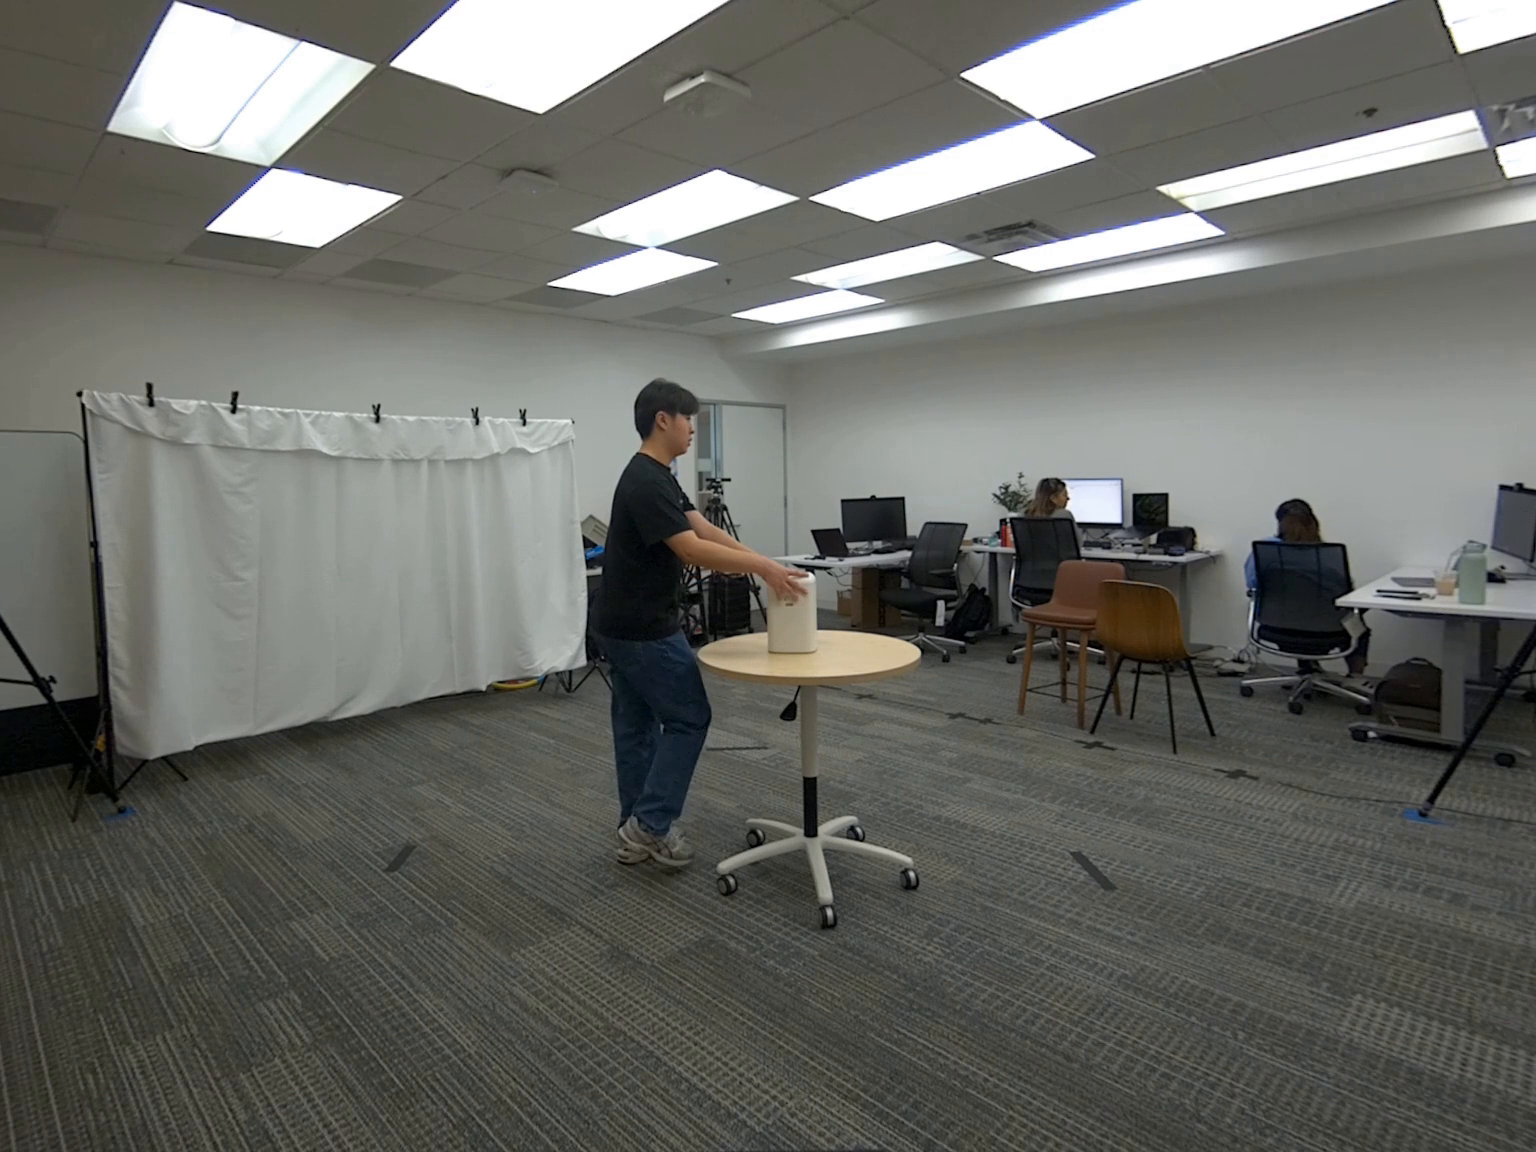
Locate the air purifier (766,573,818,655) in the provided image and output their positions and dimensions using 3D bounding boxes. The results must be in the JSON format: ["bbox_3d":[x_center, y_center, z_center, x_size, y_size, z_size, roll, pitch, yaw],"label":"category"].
[{"bbox_3d":[0.080,0.125,2.992,0.172,0.265,0.170,0,2,7],"label":"air purifier"}]
